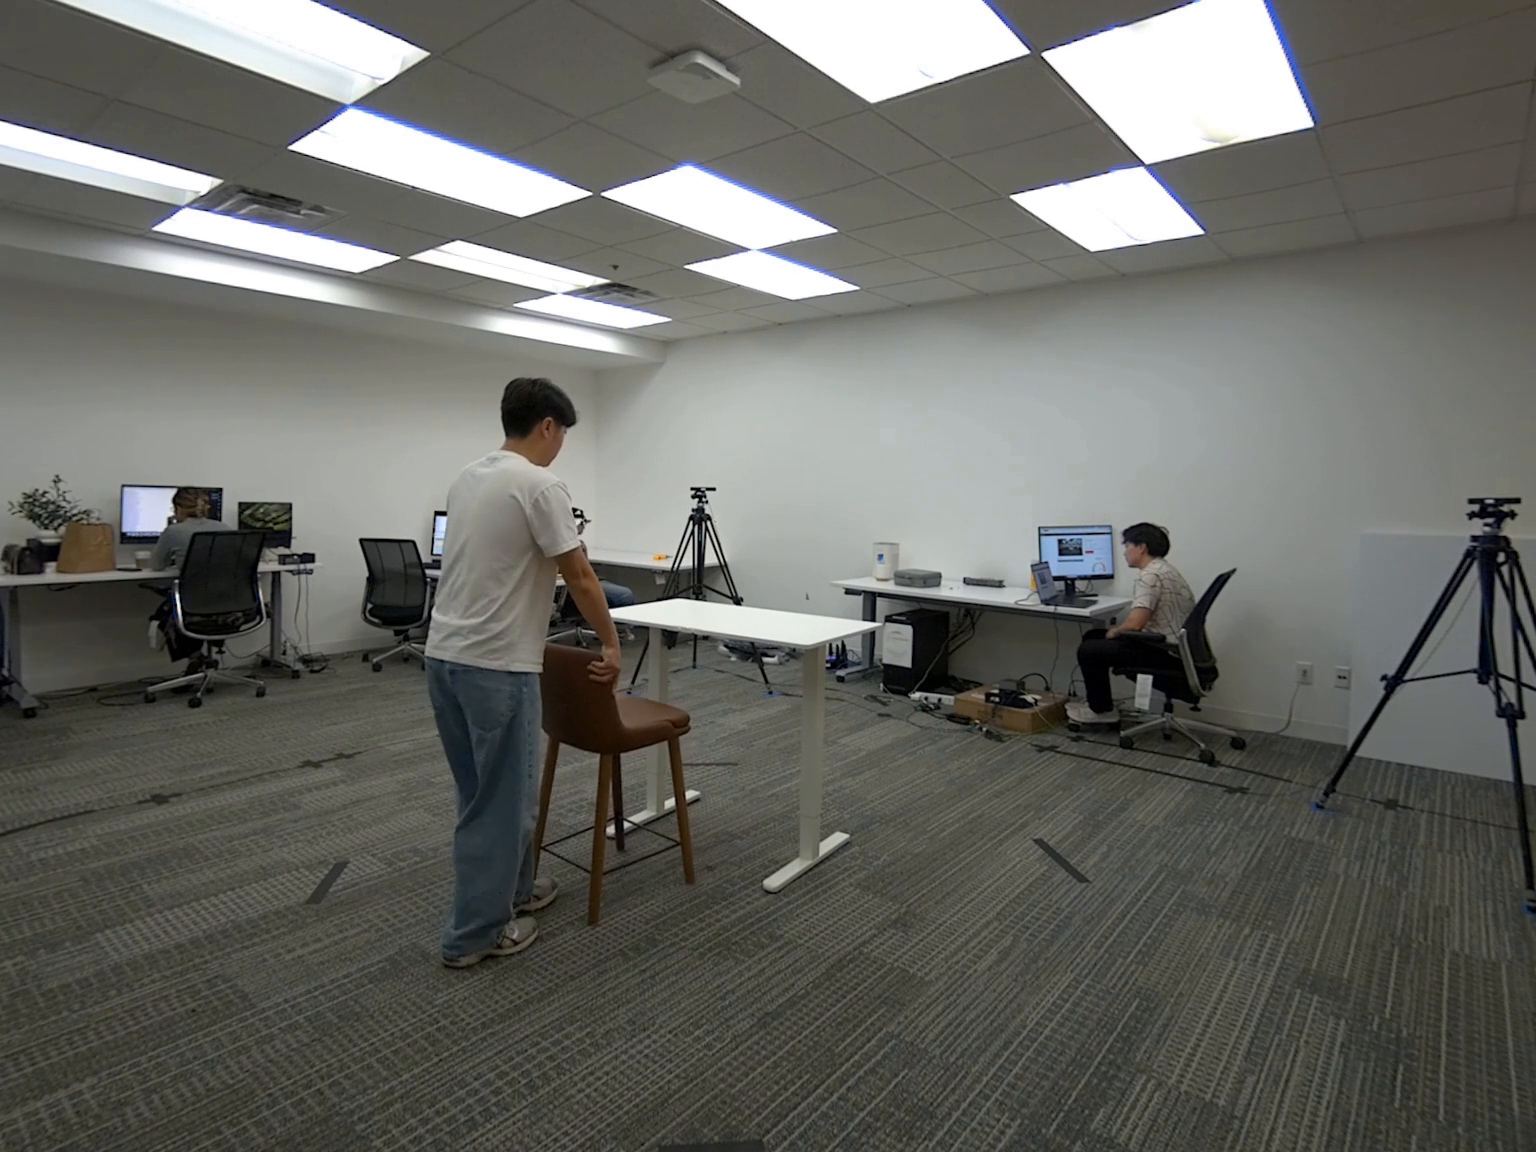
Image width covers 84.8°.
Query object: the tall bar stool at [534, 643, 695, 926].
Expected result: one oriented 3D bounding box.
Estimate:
[{"bbox_3d":[-0.561,0.636,2.937,0.472,0.886,0.454,4,6,41],"label":"tall bar stool"}]
